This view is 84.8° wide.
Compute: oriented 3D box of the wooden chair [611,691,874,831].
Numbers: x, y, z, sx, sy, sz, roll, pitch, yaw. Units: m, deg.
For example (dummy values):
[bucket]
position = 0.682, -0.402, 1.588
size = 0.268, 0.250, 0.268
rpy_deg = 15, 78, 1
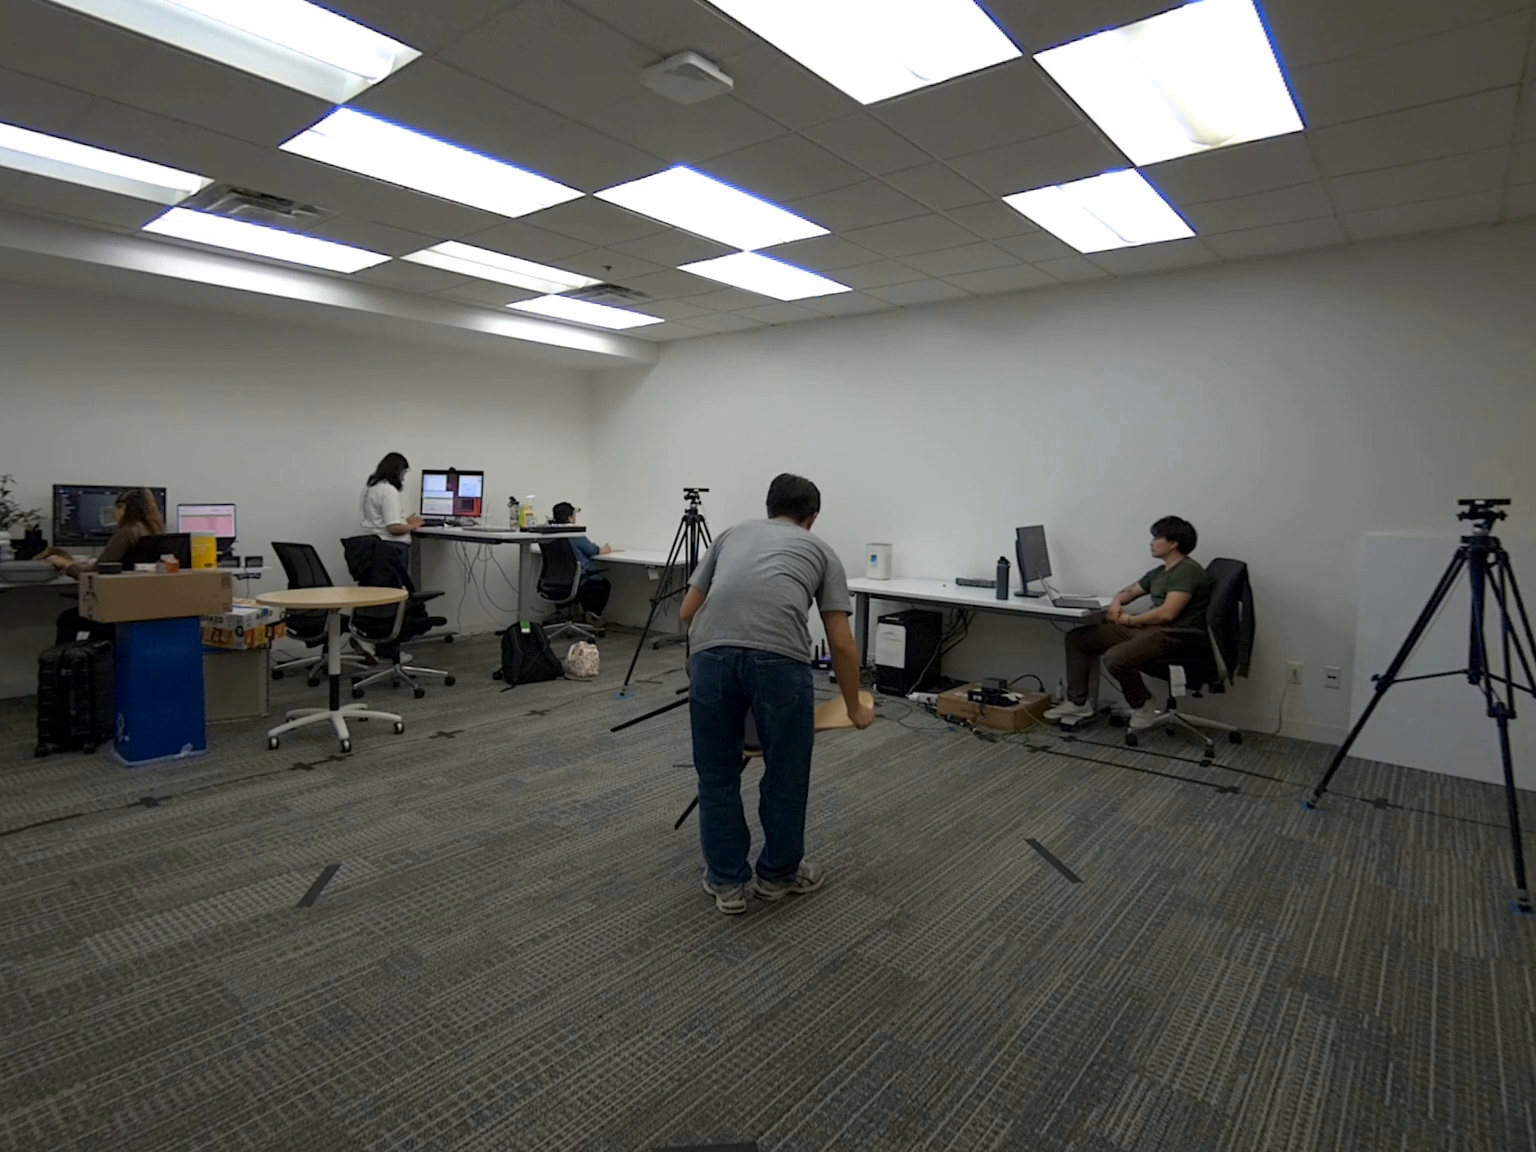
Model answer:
[wooden chair]
position = -0.112, 0.495, 3.236
size = 0.884, 0.529, 0.469
rpy_deg = -35, -8, 32
